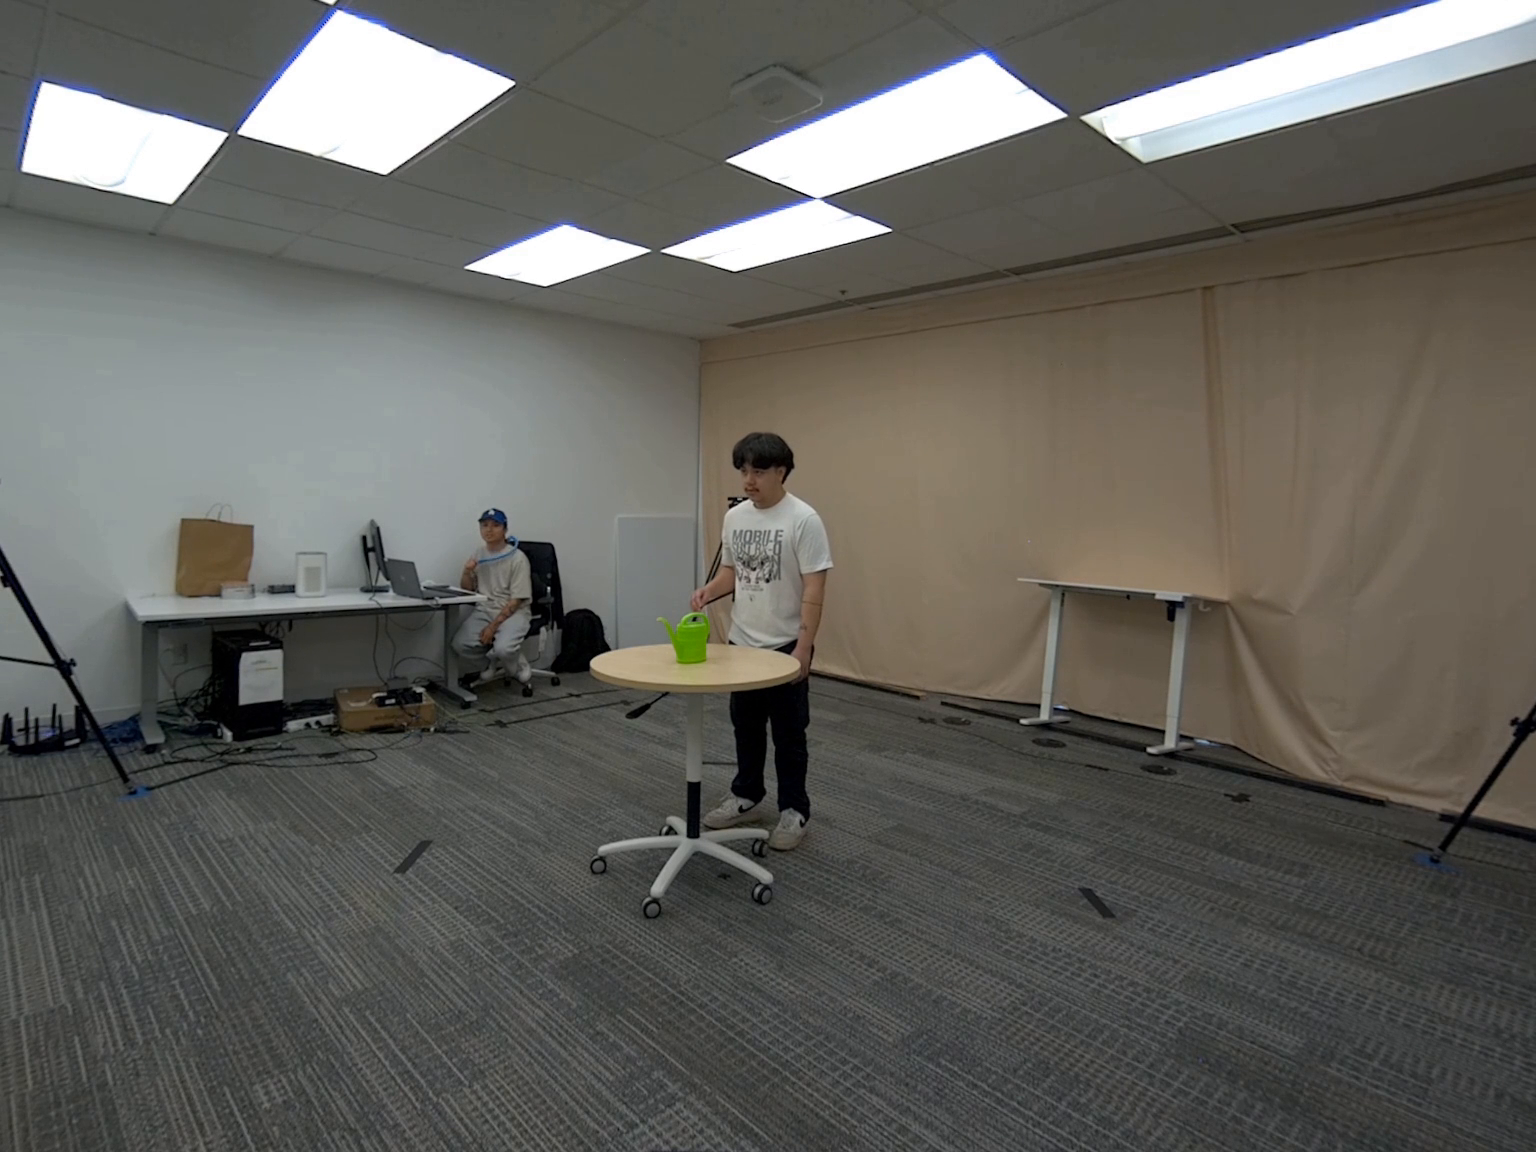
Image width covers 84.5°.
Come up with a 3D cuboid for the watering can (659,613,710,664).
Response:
[{"bbox_3d":[-0.324,0.229,3.056,0.272,0.177,0.100,0,2,-44],"label":"watering can"}]
